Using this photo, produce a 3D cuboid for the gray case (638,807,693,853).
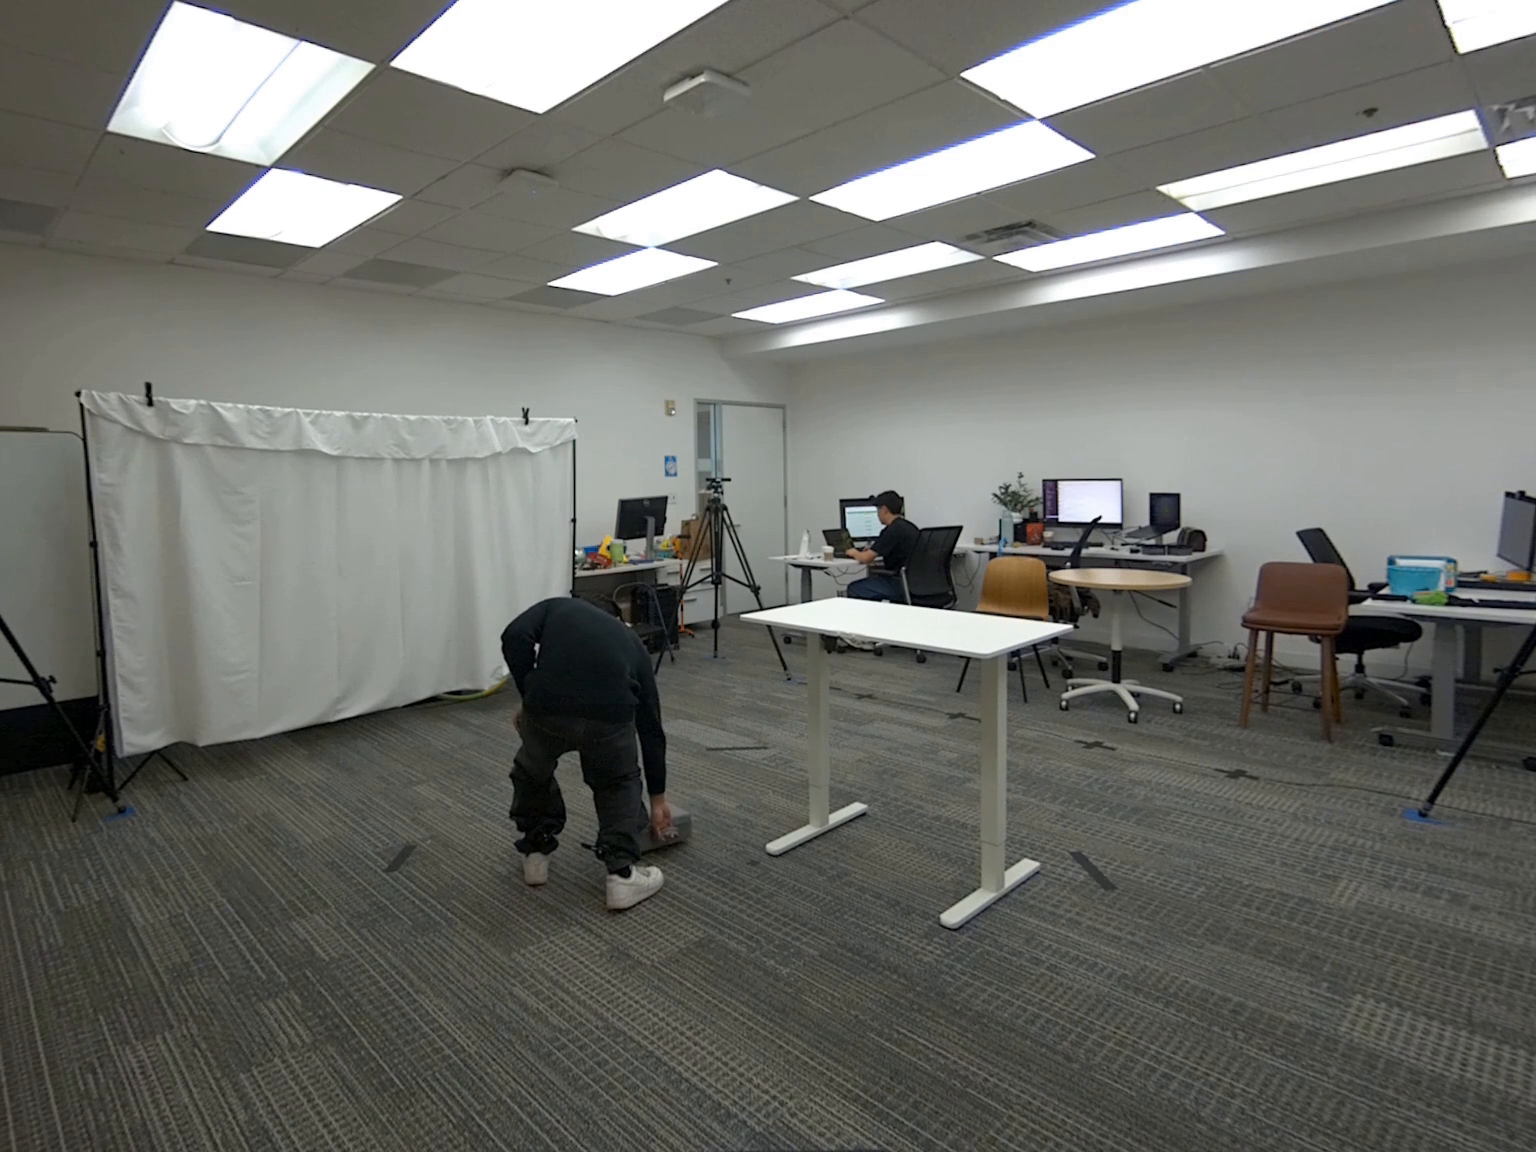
[{"bbox_3d":[-0.448,0.958,3.303,0.250,0.104,0.267,-2,1,-34],"label":"gray case"}]
